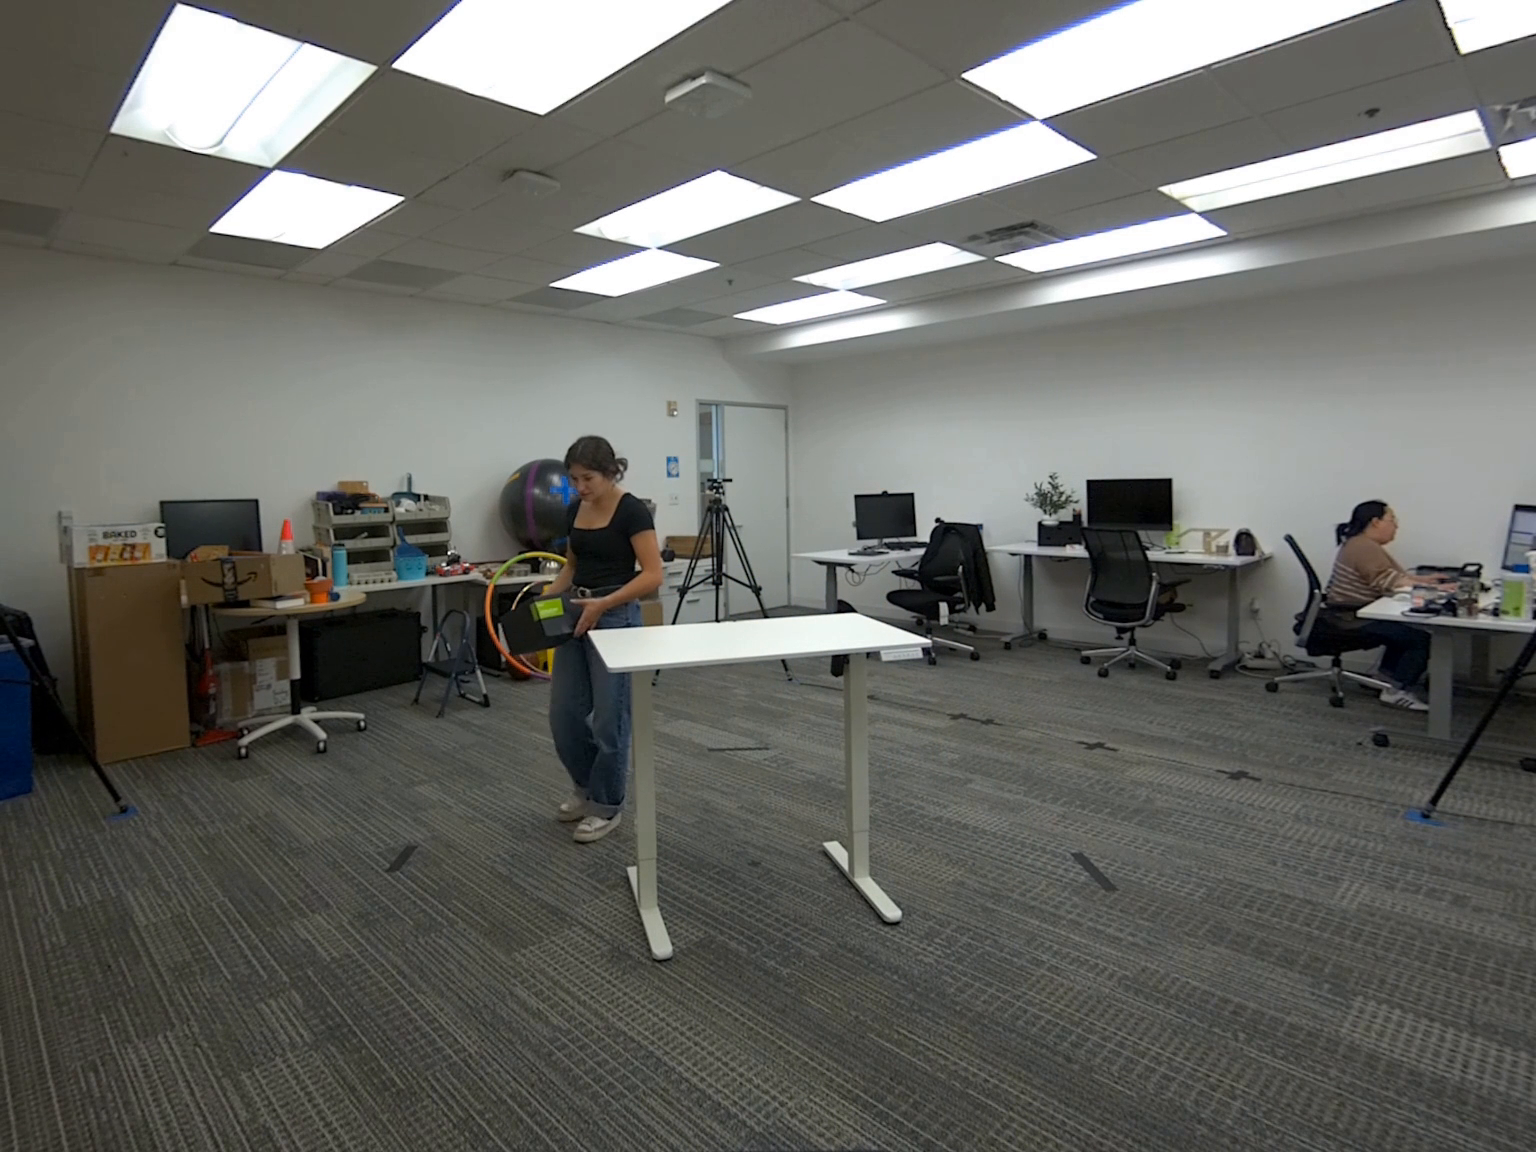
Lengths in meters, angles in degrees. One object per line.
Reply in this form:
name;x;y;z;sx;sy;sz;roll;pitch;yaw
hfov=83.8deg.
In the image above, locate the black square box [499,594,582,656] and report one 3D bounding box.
black square box;-0.844;0.180;3.215;0.219;0.158;0.222;-28;-12;31
